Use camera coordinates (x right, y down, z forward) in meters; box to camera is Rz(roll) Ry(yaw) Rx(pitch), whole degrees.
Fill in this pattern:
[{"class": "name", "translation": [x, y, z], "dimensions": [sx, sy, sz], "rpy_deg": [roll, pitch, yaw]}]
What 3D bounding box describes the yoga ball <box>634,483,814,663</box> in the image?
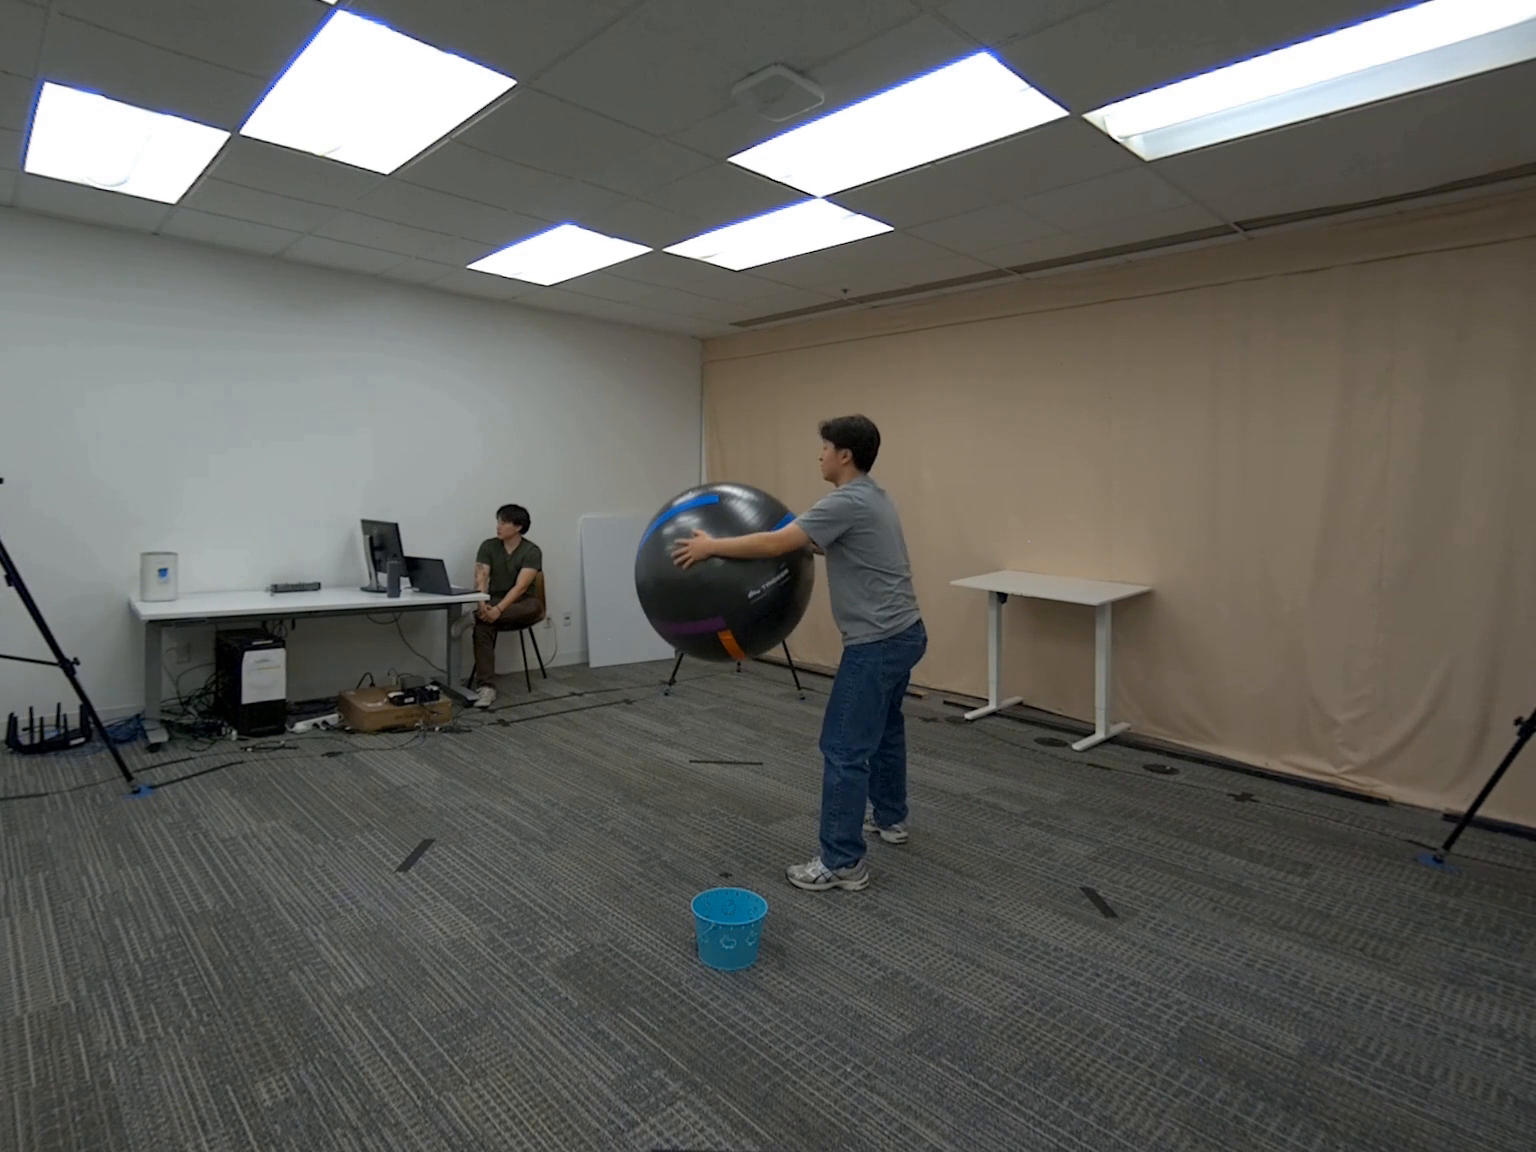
[{"class": "yoga ball", "translation": [-0.184, -0.006, 3.553], "dimensions": [0.757, 0.756, 0.761], "rpy_deg": [1, 4, -1]}]
